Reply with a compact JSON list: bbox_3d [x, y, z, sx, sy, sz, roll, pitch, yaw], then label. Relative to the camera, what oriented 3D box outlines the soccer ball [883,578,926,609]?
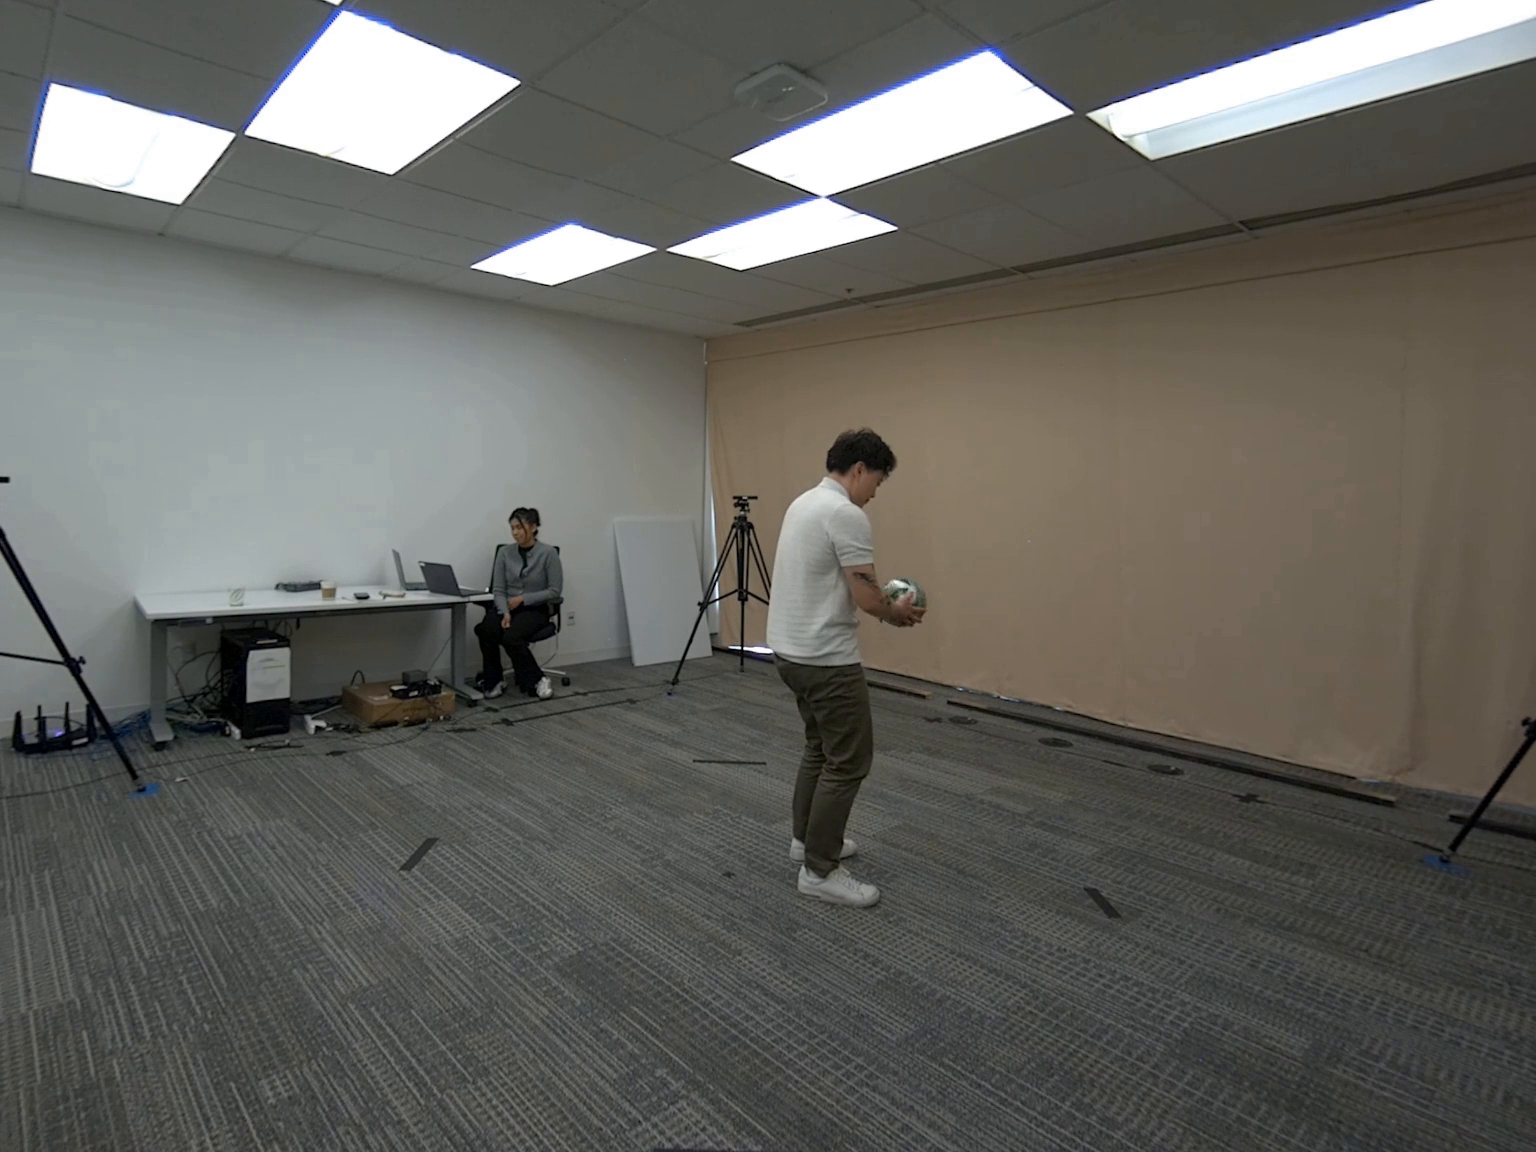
[{"bbox_3d":[0.481,0.094,3.162,0.187,0.187,0.188,1,4,-1],"label":"soccer ball"}]
